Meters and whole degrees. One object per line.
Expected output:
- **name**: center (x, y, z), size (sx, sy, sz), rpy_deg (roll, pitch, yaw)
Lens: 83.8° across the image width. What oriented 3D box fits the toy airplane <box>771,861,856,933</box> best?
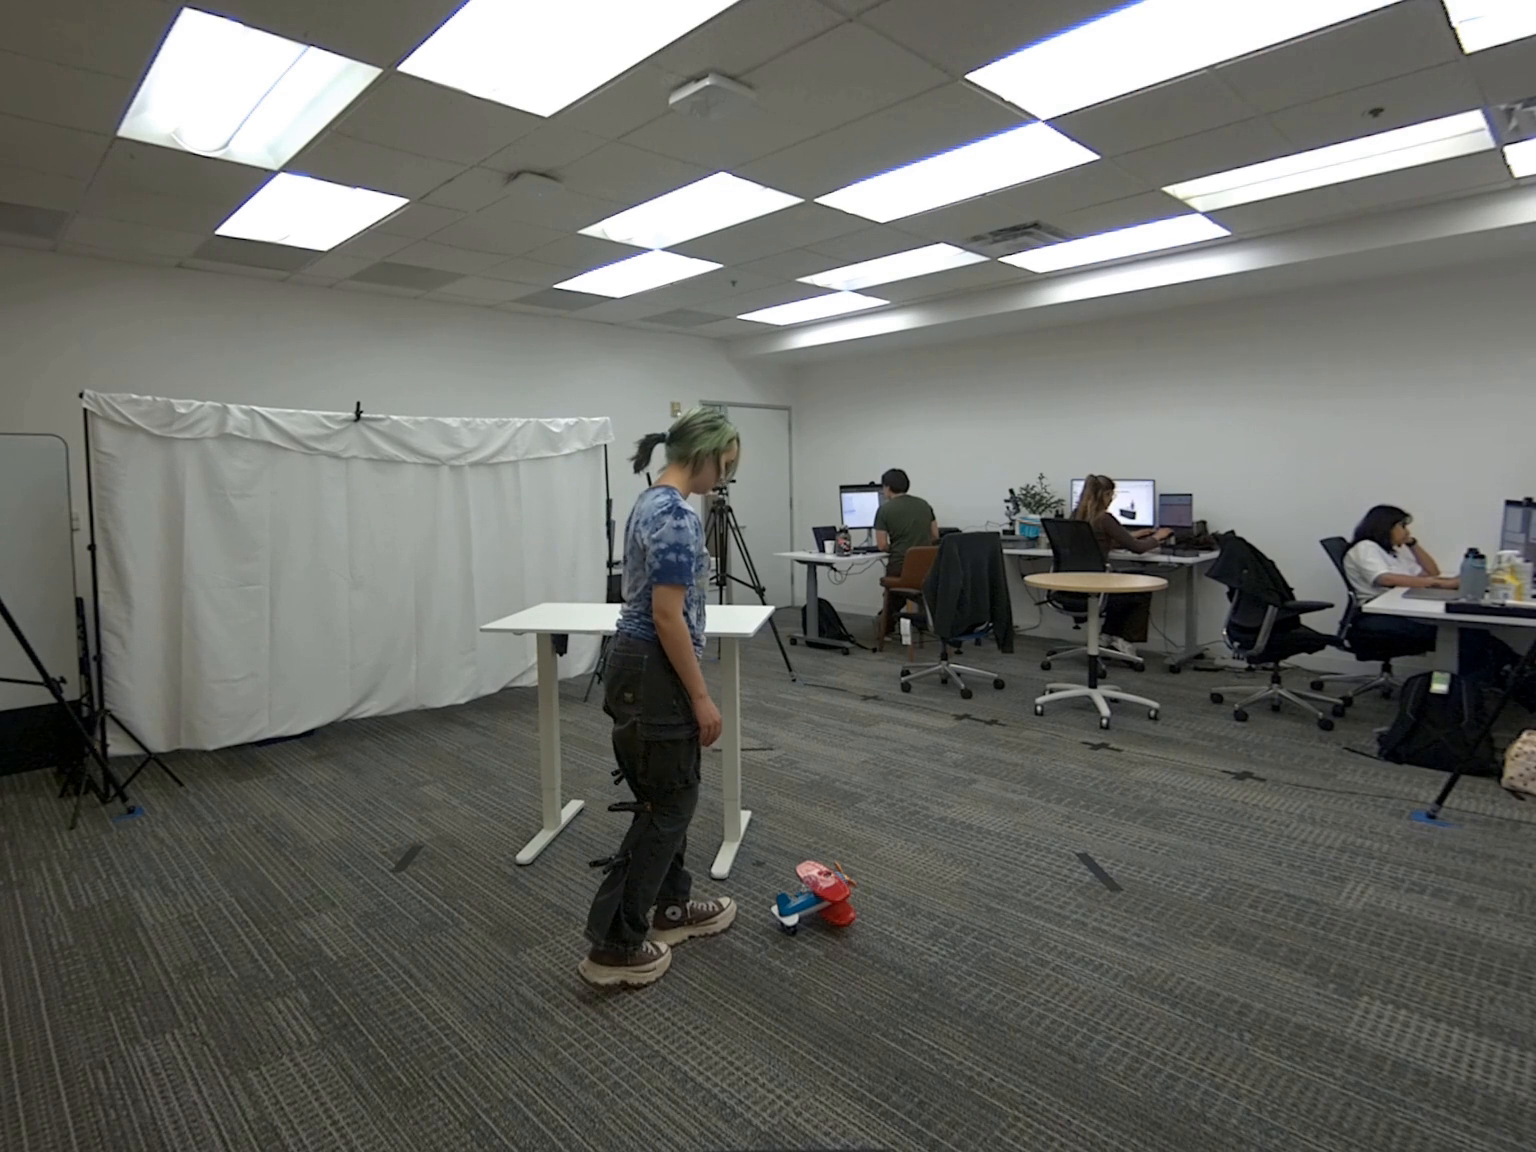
- **toy airplane**: center (0.159, 1.018, 2.659), size (0.258, 0.156, 0.253), rpy_deg (4, 6, 35)
